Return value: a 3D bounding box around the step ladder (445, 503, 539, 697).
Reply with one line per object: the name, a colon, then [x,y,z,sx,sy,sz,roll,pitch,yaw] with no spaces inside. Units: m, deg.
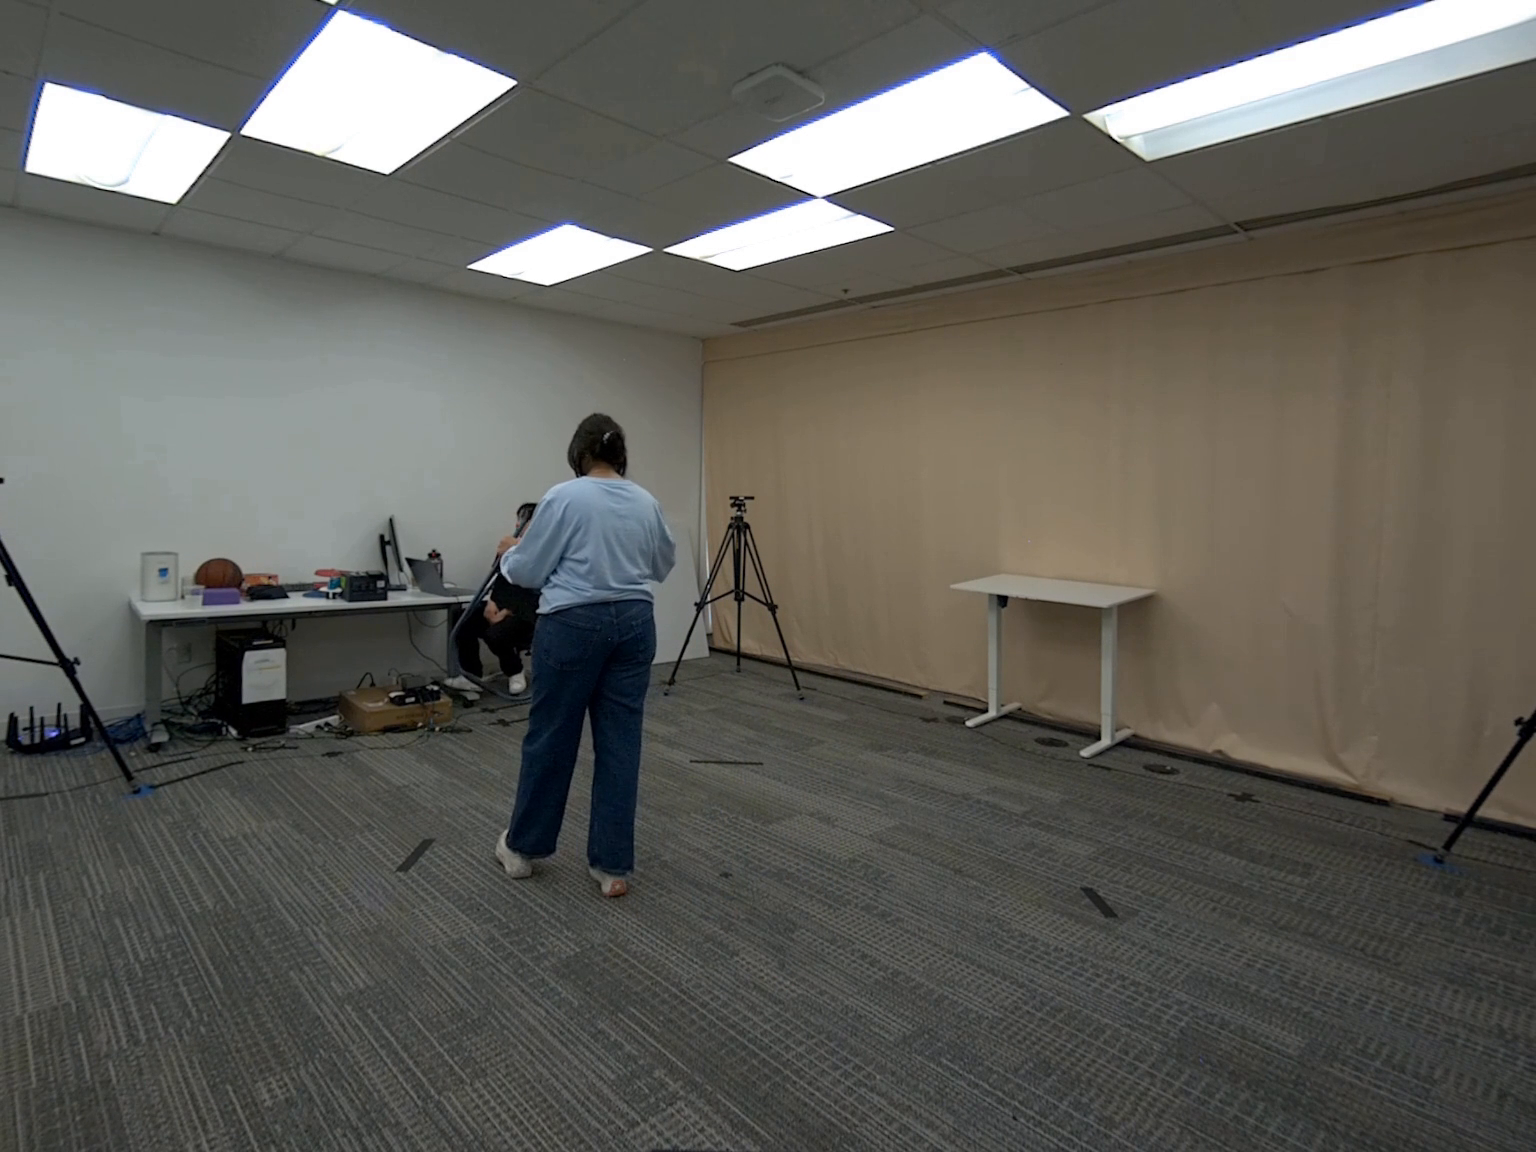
step ladder: [-0.909,0.149,3.198,0.428,0.611,0.348,30,-36,-7]
